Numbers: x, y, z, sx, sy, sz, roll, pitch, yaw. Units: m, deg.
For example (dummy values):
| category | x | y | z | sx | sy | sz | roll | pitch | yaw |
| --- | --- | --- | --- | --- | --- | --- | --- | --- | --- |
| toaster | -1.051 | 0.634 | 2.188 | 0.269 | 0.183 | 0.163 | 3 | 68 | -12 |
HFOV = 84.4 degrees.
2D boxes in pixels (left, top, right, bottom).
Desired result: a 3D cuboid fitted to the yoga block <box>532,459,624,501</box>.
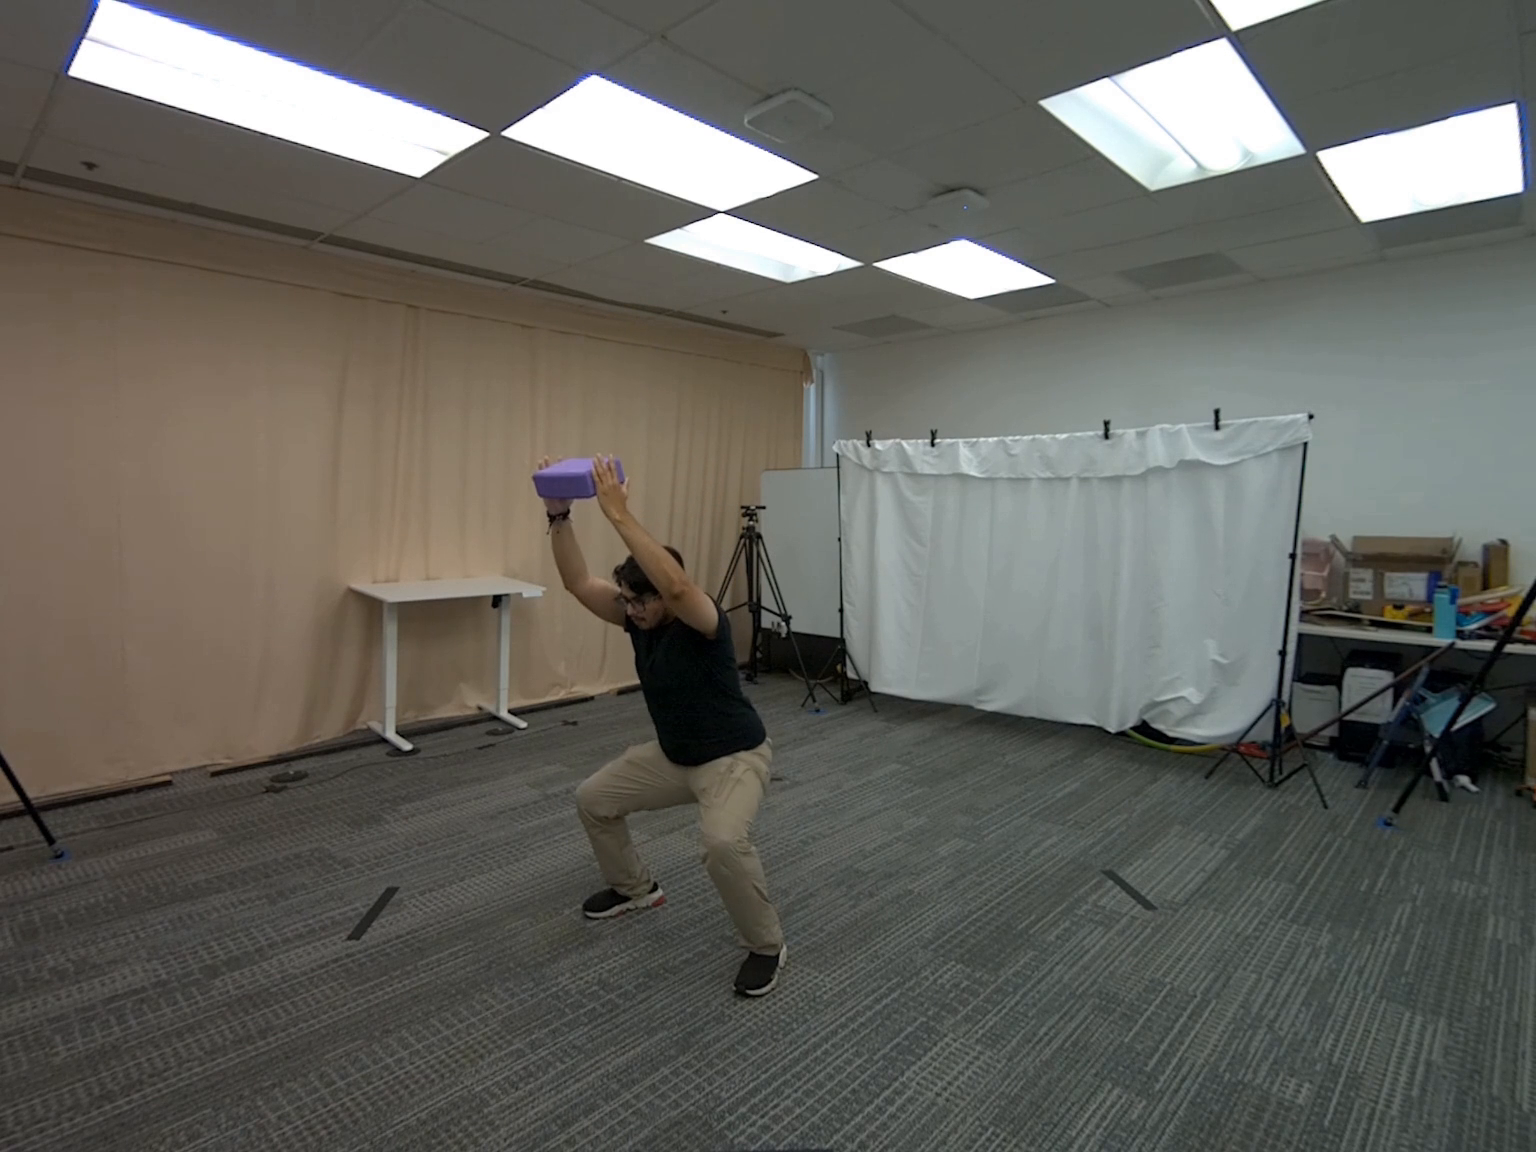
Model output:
| category | x | y | z | sx | sy | sz | roll | pitch | yaw |
| --- | --- | --- | --- | --- | --- | --- | --- | --- | --- |
| yoga block | -0.529 | -0.279 | 2.367 | 0.237 | 0.075 | 0.146 | 7 | 29 | 41 |
